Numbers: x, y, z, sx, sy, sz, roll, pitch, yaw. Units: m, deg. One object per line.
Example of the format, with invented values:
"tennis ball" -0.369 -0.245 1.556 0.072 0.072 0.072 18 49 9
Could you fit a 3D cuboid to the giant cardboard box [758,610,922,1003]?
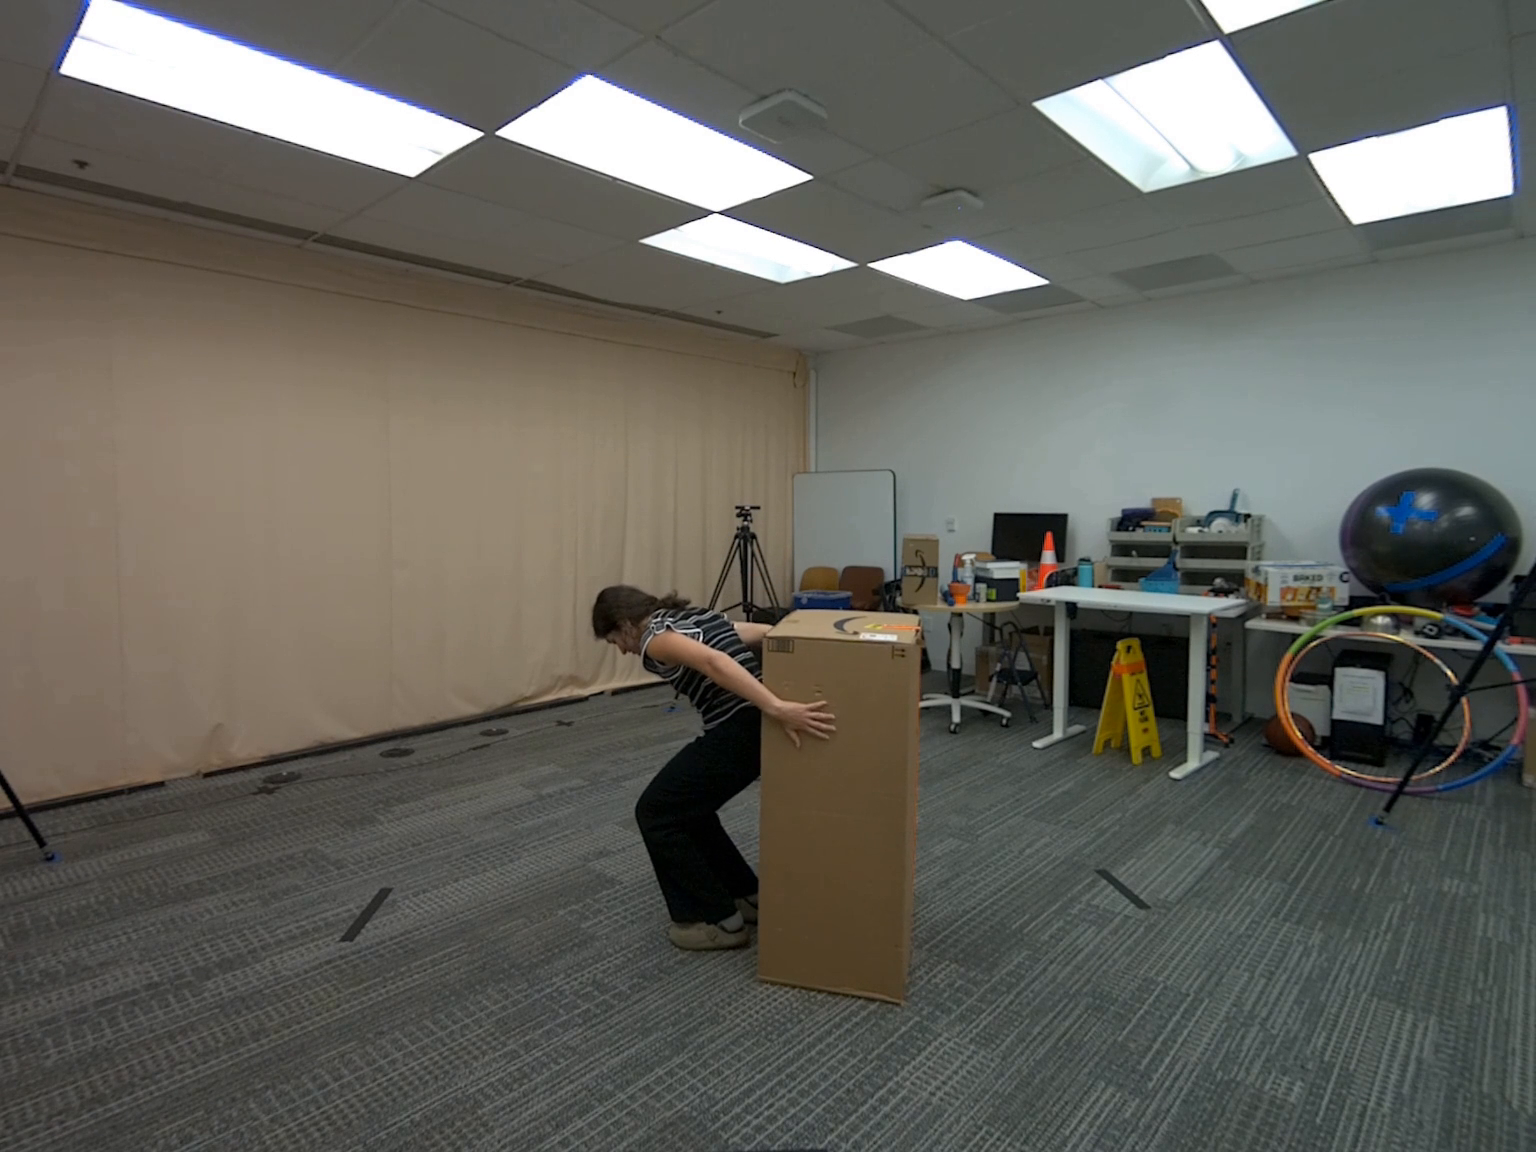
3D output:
"giant cardboard box" 0.244 0.660 2.652 0.433 1.024 0.570 2 4 13
